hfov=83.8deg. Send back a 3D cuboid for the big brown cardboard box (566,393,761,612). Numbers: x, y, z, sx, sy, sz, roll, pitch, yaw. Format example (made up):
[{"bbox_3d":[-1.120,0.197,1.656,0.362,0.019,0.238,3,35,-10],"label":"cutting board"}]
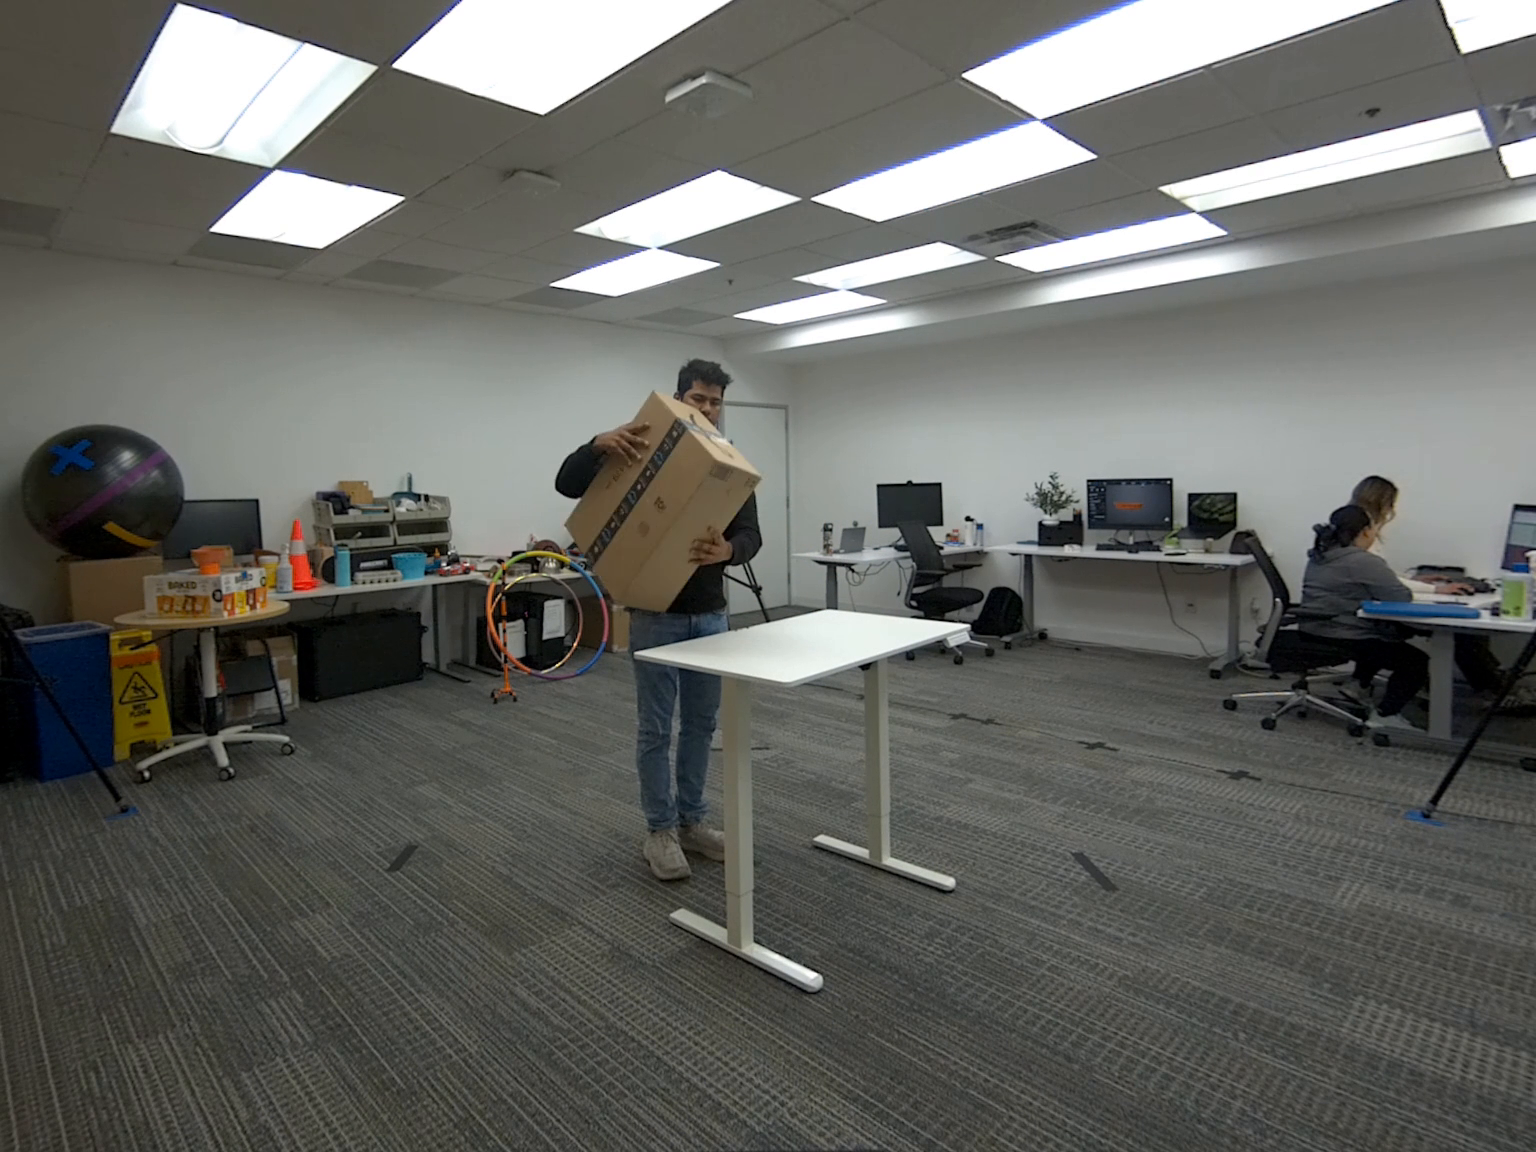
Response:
[{"bbox_3d":[-0.358,-0.227,2.772,0.225,0.587,0.434,14,29,-48],"label":"big brown cardboard box"}]
